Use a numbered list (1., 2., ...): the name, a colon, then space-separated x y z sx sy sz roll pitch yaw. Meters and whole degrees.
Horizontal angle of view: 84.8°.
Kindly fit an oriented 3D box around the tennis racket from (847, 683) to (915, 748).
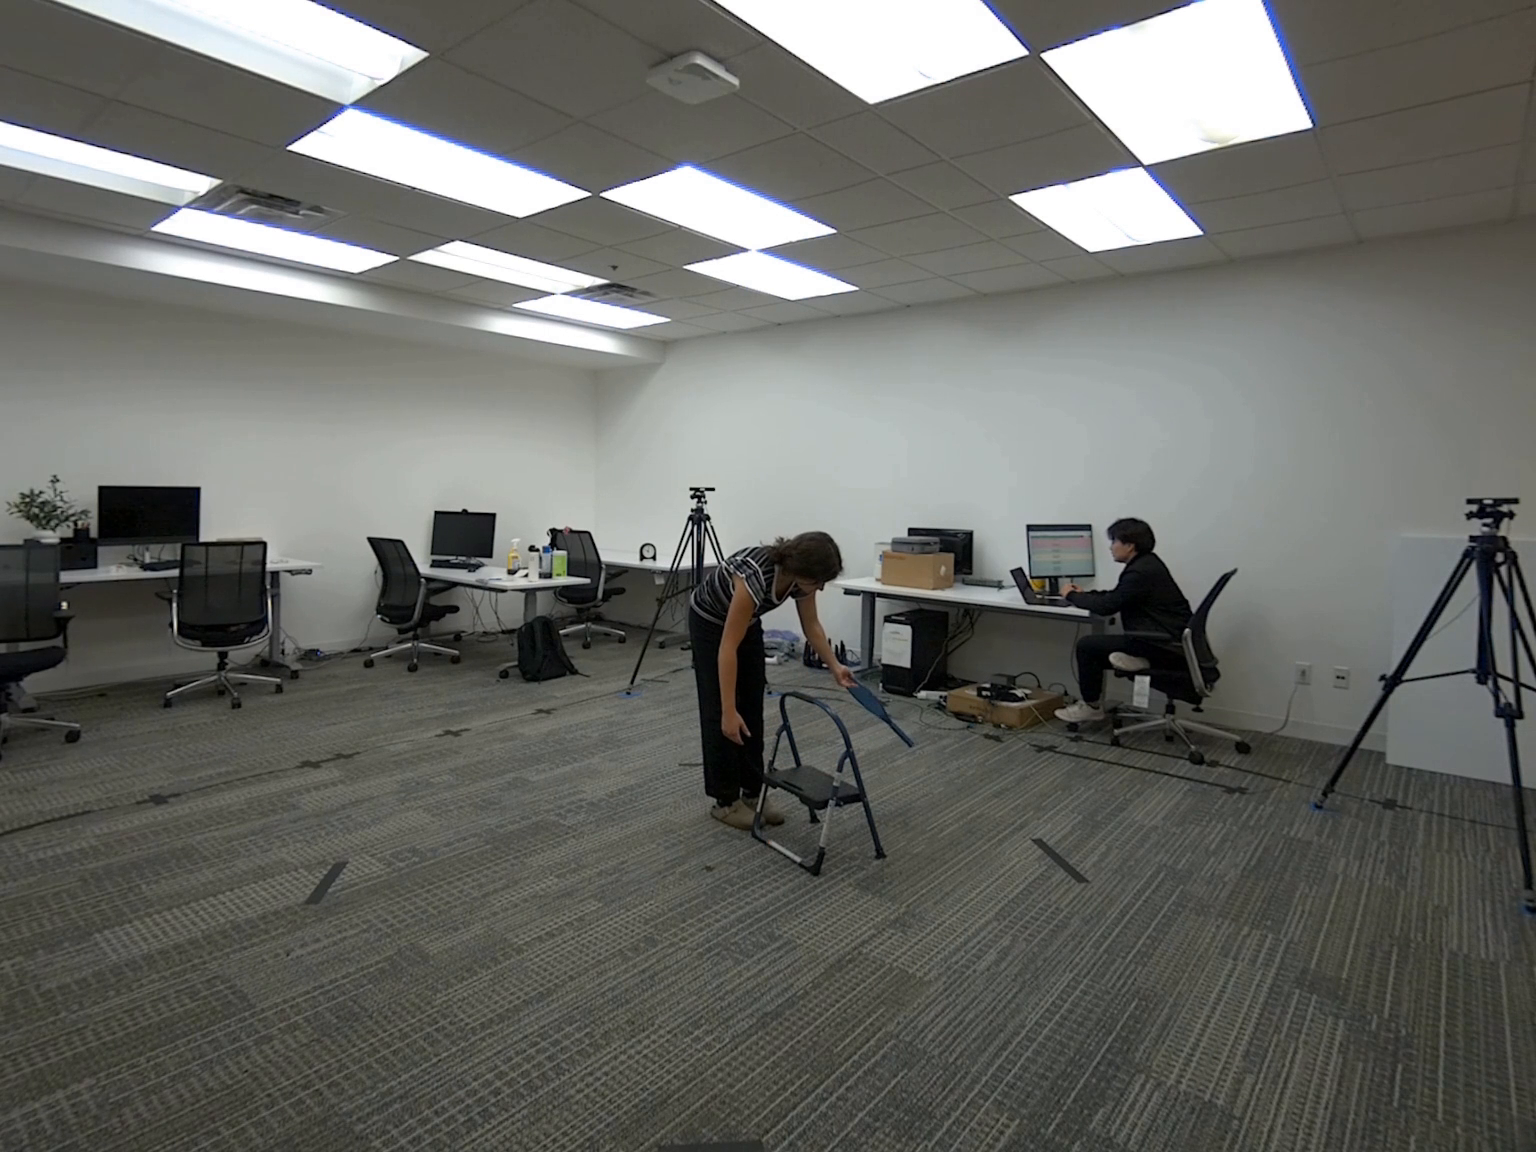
1. tennis racket: 0.471 0.590 3.748 0.032 0.441 0.210 -42 -12 -12
